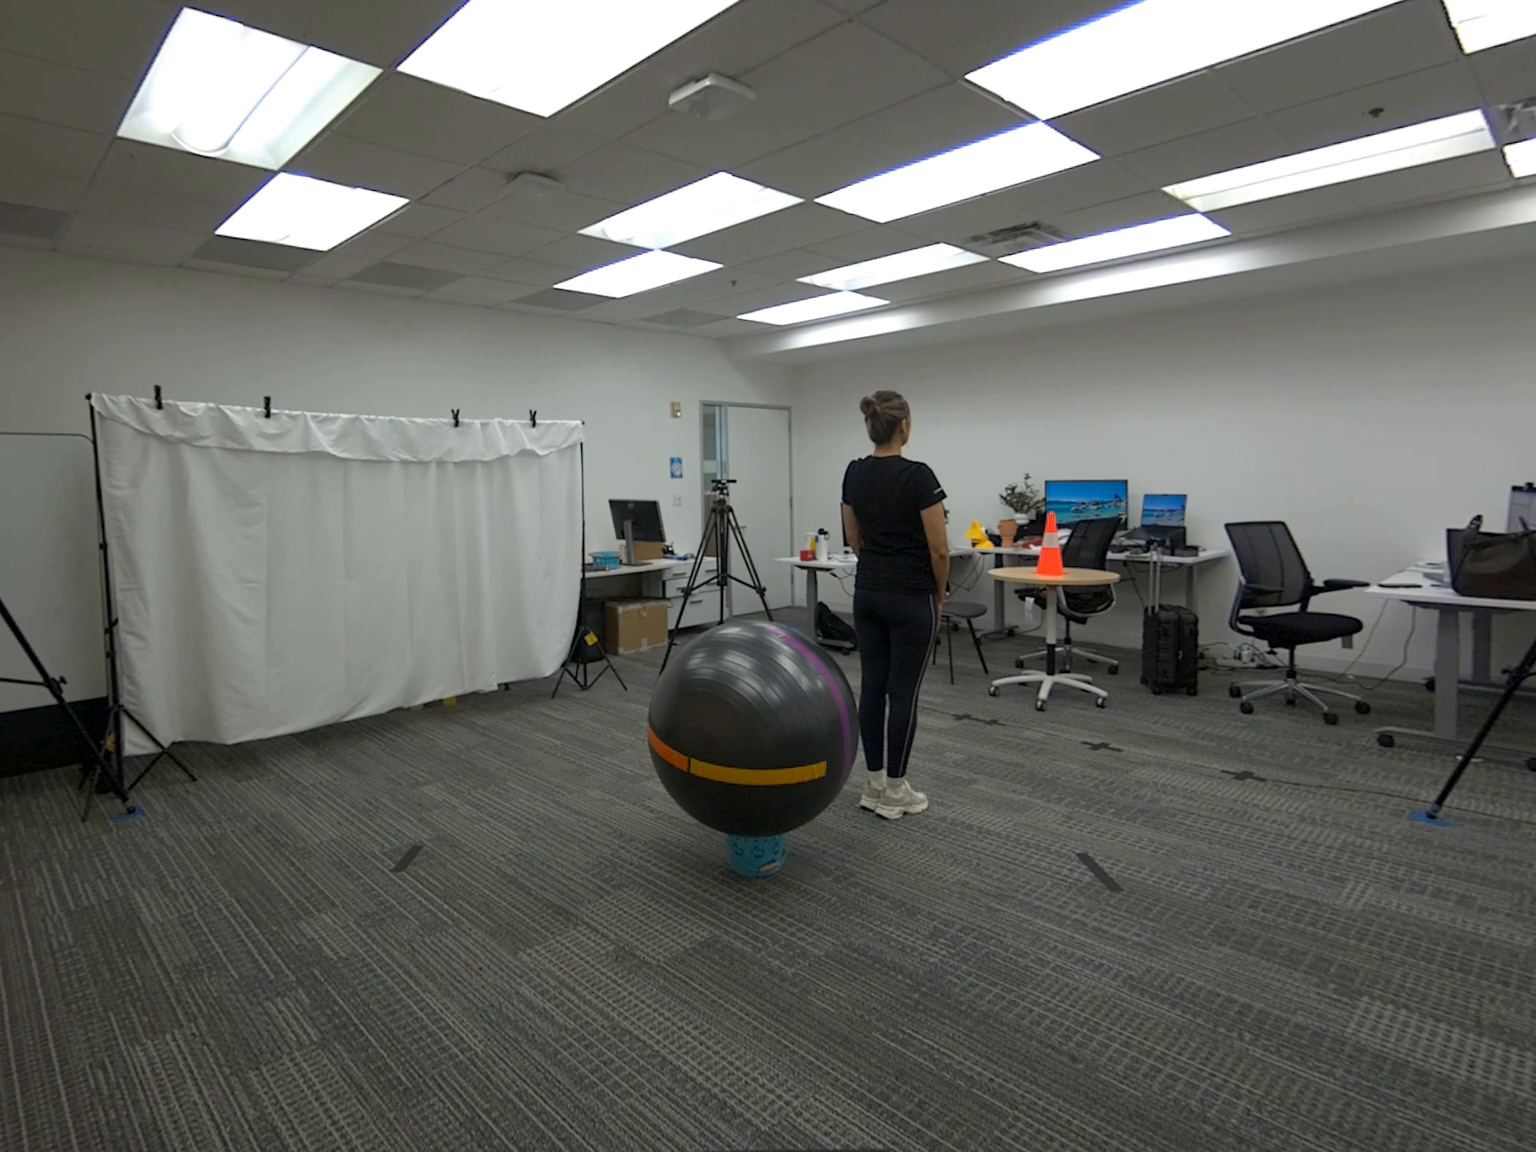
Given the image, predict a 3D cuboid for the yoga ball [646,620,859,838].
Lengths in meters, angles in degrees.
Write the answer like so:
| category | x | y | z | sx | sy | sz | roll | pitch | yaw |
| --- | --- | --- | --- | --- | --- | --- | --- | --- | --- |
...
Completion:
| category | x | y | z | sx | sy | sz | roll | pitch | yaw |
| --- | --- | --- | --- | --- | --- | --- | --- | --- | --- |
| yoga ball | -0.055 | 0.538 | 3.074 | 0.757 | 0.755 | 0.762 | -1 | 5 | -2 |
